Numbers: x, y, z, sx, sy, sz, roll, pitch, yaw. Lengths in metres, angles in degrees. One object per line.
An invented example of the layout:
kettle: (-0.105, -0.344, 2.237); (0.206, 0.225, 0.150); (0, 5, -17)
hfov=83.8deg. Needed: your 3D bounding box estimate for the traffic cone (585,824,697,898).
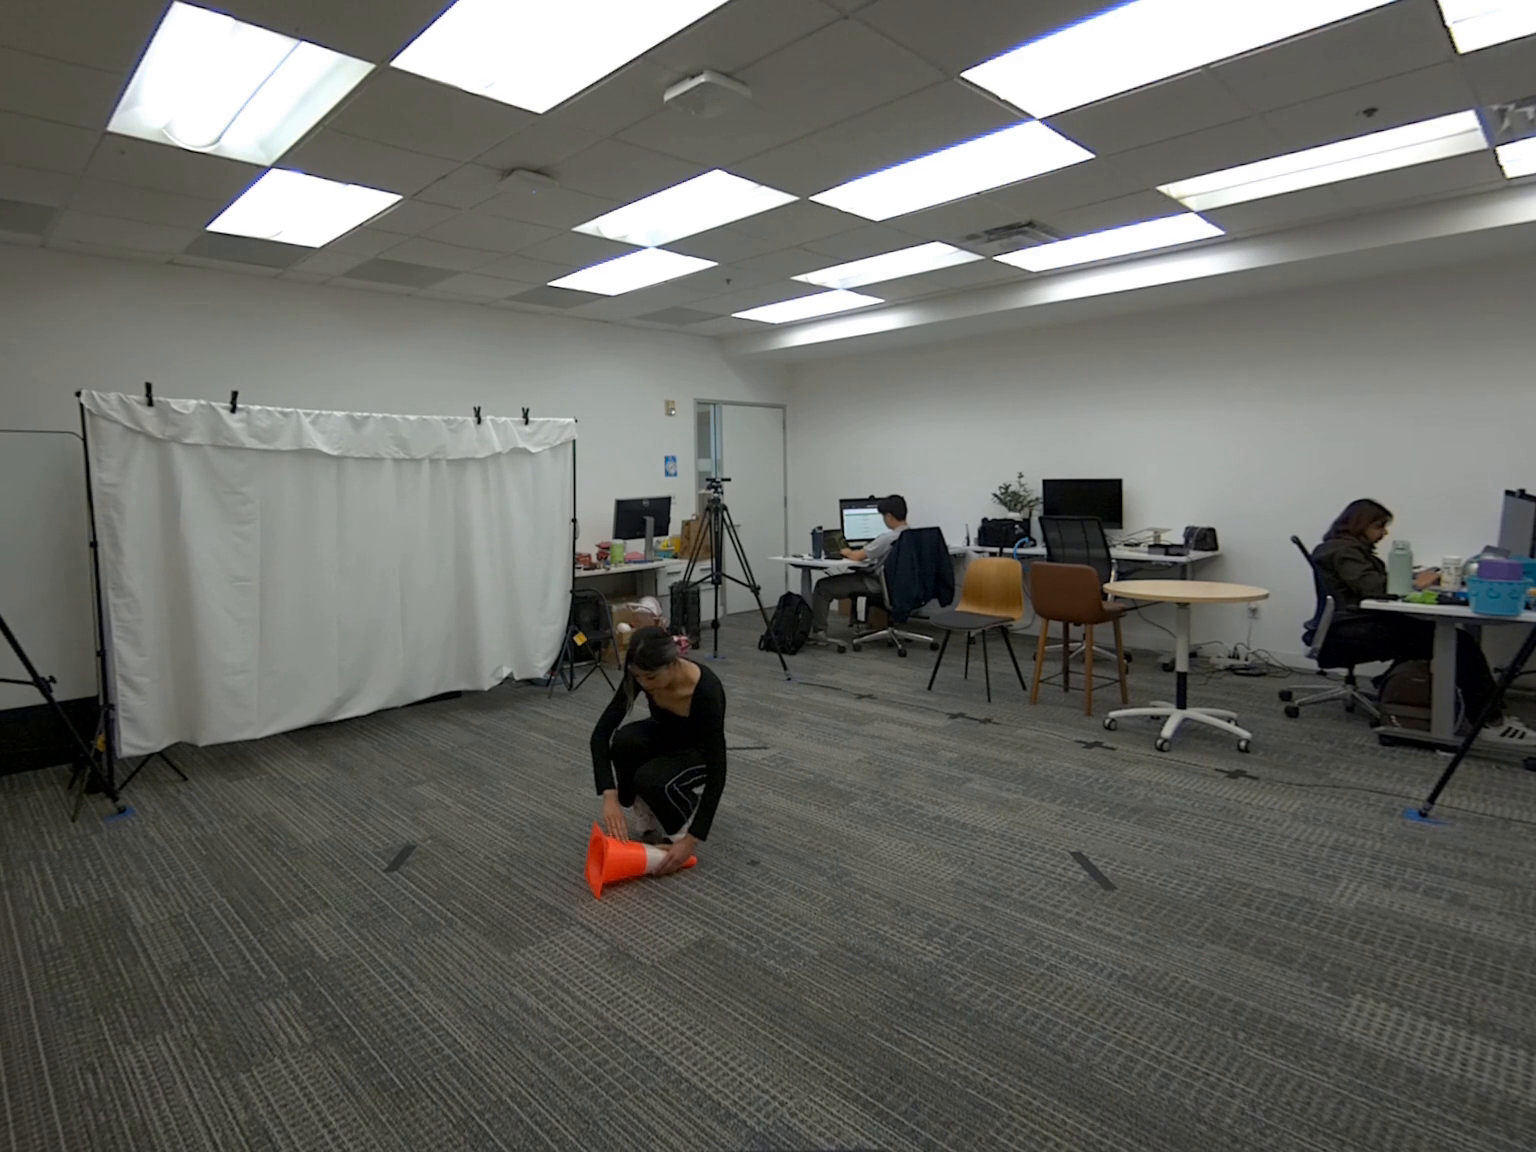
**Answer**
traffic cone: (-0.431, 1.010, 3.022); (0.374, 0.205, 0.208); (11, 0, -25)
